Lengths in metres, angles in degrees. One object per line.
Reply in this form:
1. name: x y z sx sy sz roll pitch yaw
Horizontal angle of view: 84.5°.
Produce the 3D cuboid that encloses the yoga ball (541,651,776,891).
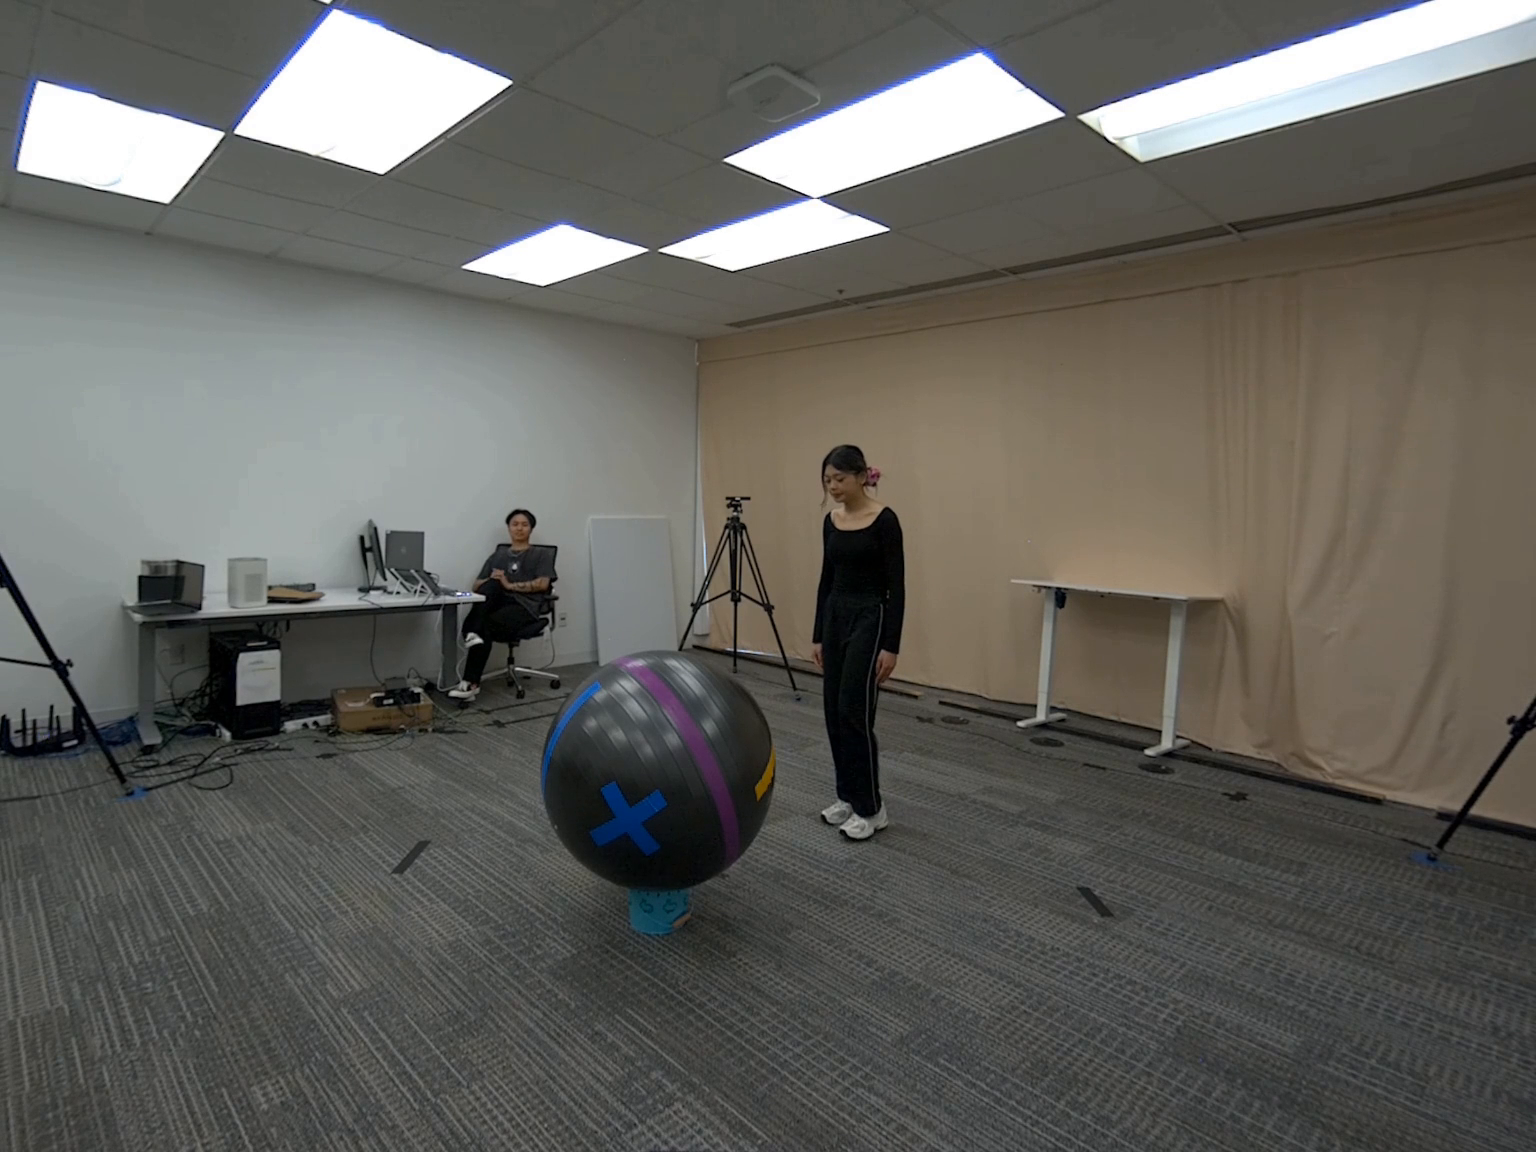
1. yoga ball: -0.356 0.624 2.739 0.757 0.756 0.761 1 4 -1
